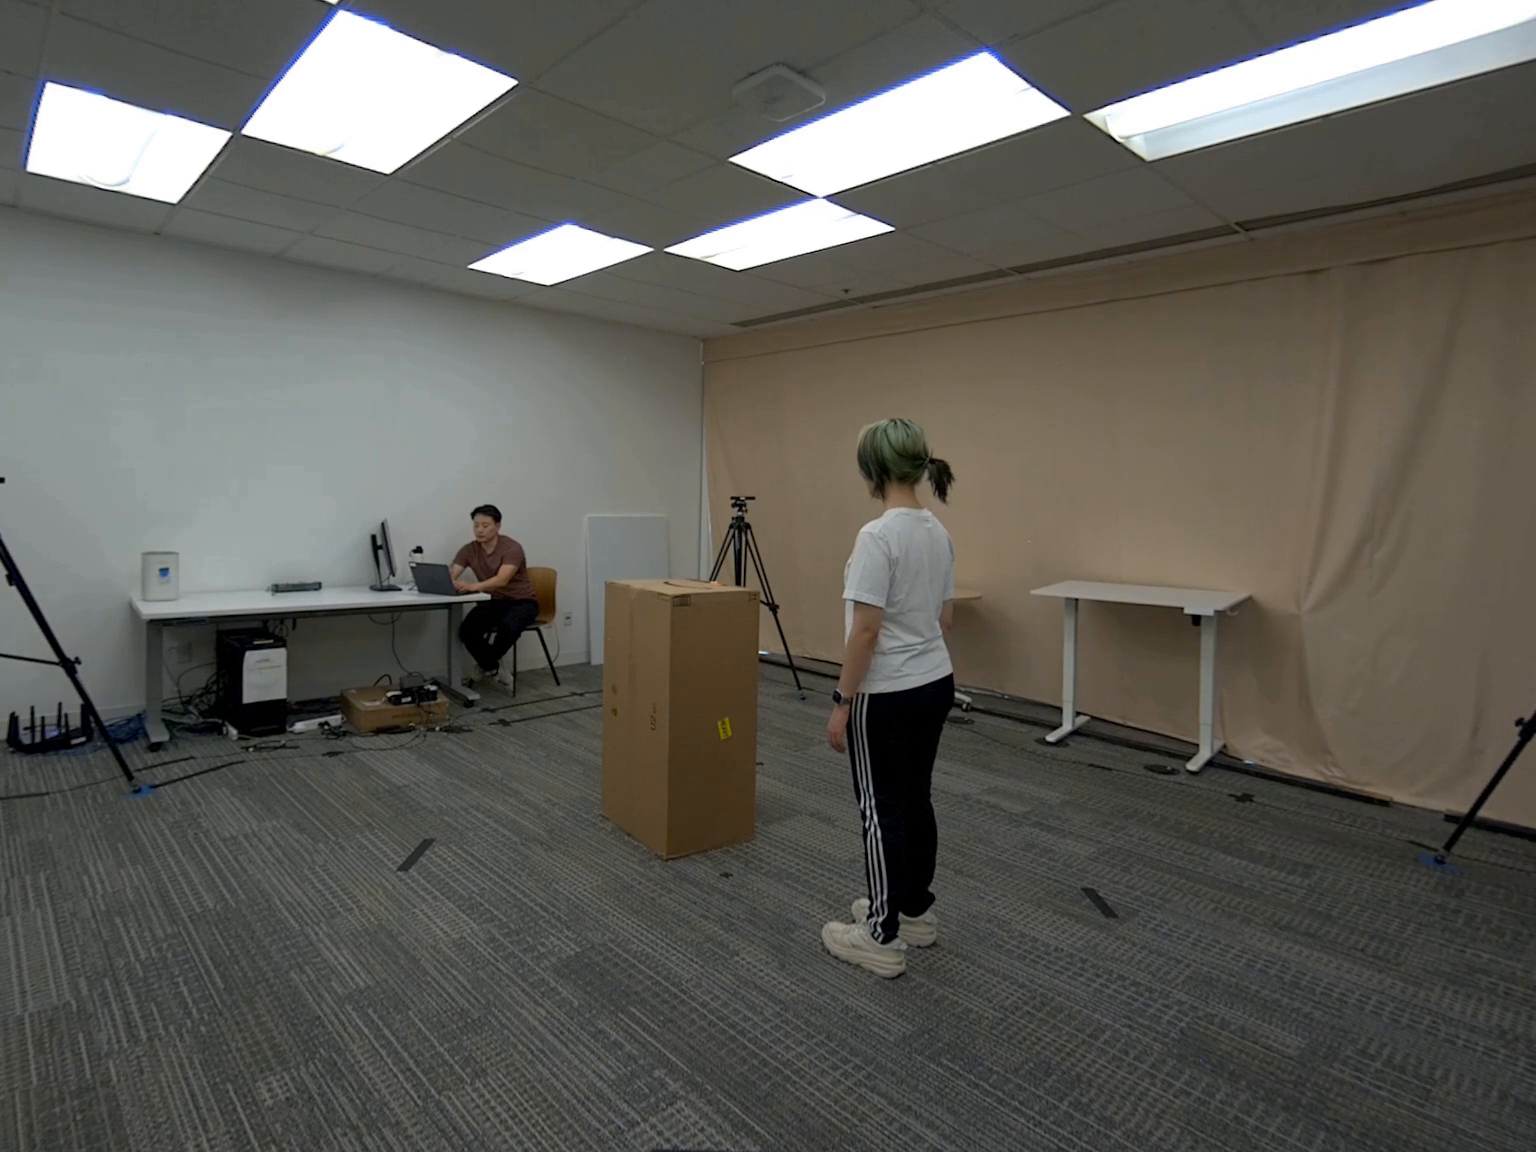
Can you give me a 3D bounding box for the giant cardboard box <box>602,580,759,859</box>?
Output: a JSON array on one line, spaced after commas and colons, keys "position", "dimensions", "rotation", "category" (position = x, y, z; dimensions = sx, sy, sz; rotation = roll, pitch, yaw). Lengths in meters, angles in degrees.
[{"position": [-0.387, 0.553, 3.543], "dimensions": [0.437, 1.025, 0.598], "rotation": [-1, 4, -37], "category": "giant cardboard box"}]
